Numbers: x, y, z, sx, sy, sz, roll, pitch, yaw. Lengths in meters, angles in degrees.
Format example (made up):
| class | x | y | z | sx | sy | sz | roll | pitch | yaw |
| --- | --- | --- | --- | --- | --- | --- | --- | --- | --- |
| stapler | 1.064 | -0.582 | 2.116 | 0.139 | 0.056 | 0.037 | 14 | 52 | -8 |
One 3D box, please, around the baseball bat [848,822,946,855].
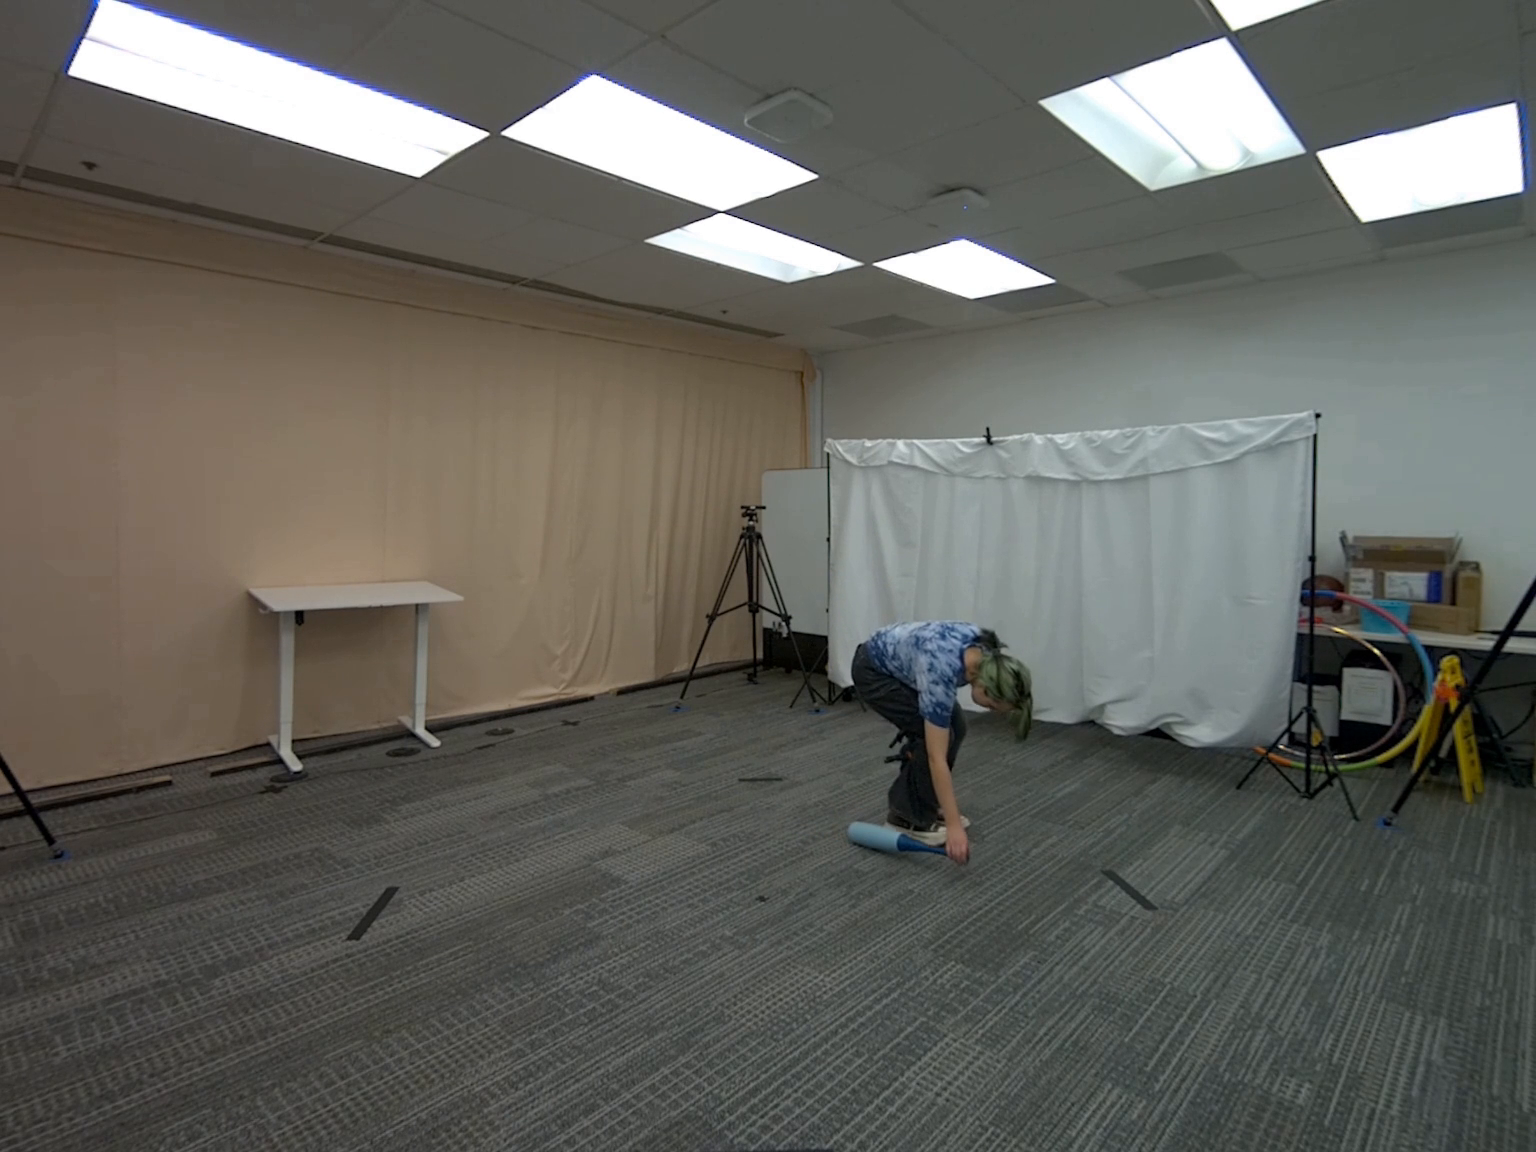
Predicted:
| class | x | y | z | sx | sy | sz | roll | pitch | yaw |
| --- | --- | --- | --- | --- | --- | --- | --- | --- | --- |
| baseball bat | 0.542 | 1.043 | 3.298 | 0.086 | 0.089 | 0.559 | -3 | 0 | -43 |
